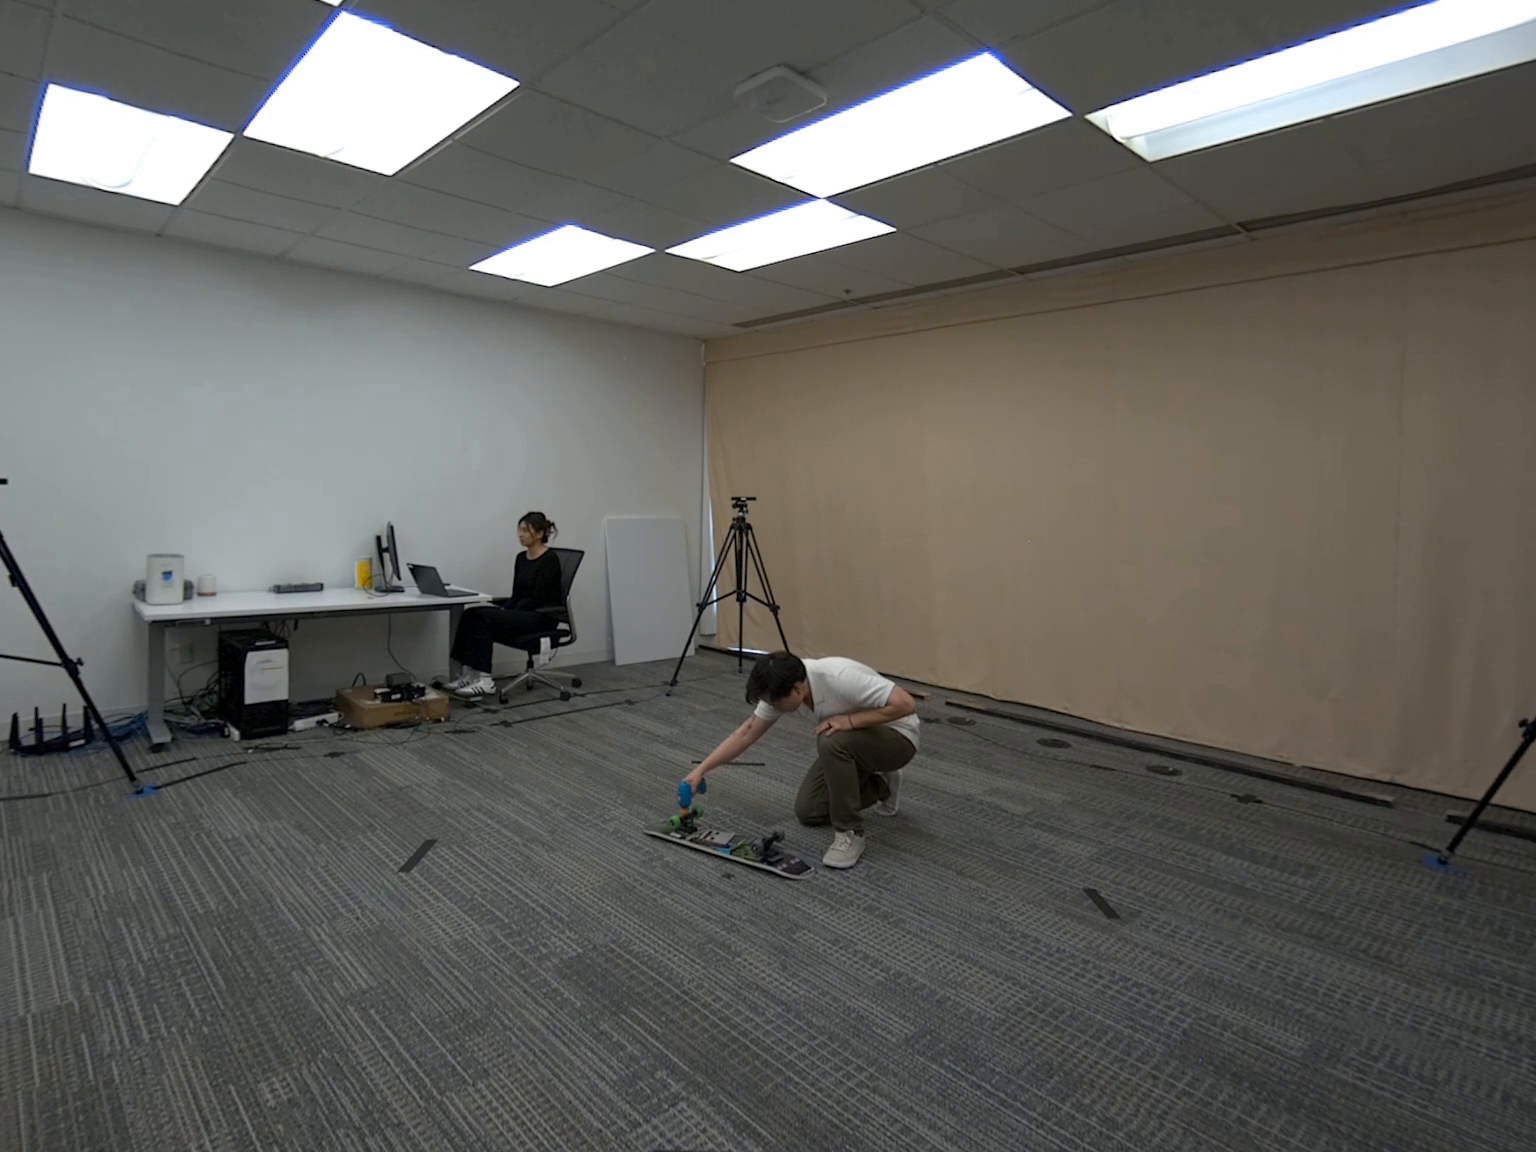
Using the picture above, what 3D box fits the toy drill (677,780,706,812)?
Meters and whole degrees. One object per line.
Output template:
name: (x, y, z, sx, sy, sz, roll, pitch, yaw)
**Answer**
toy drill: (-0.323, 0.926, 3.504, 0.062, 0.169, 0.143, -4, 3, 36)
